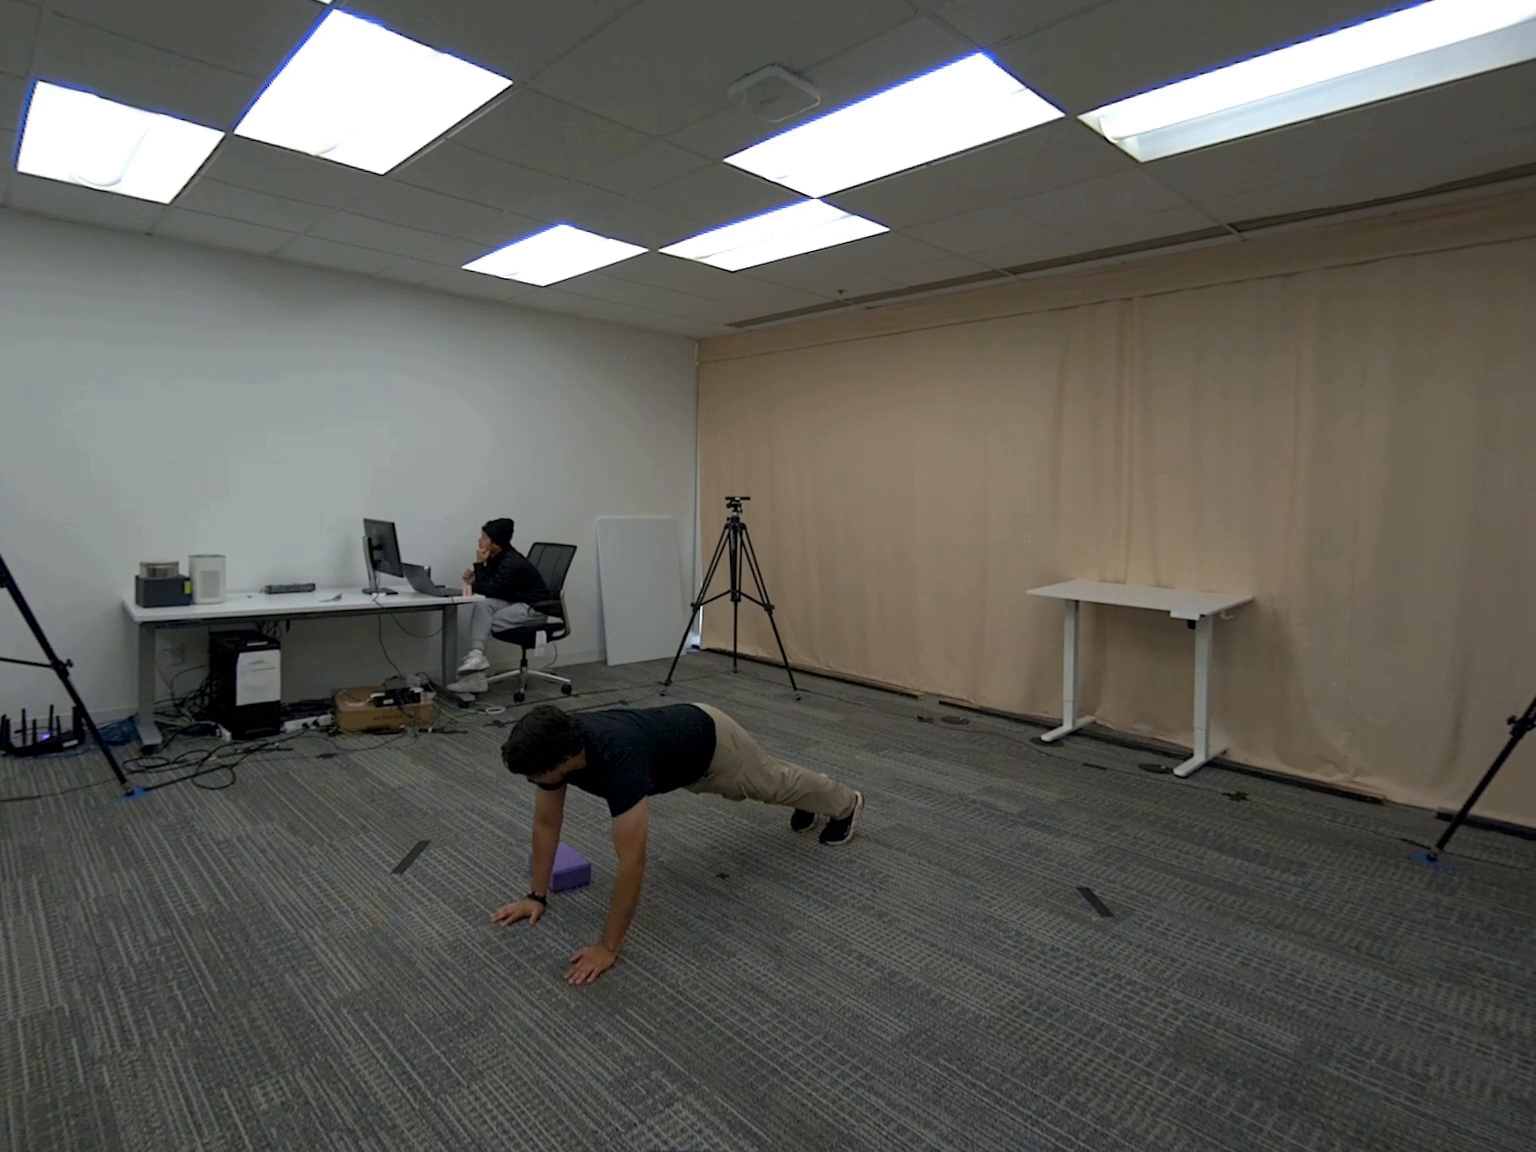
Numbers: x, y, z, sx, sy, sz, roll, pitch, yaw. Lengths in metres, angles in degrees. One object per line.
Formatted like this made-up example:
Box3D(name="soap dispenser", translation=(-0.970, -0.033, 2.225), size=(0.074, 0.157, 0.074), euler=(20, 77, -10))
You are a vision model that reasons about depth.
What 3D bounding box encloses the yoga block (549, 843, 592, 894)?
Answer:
Box3D(name="yoga block", translation=(-0.764, 1.054, 3.061), size=(0.146, 0.076, 0.235), euler=(-3, 7, -38))
